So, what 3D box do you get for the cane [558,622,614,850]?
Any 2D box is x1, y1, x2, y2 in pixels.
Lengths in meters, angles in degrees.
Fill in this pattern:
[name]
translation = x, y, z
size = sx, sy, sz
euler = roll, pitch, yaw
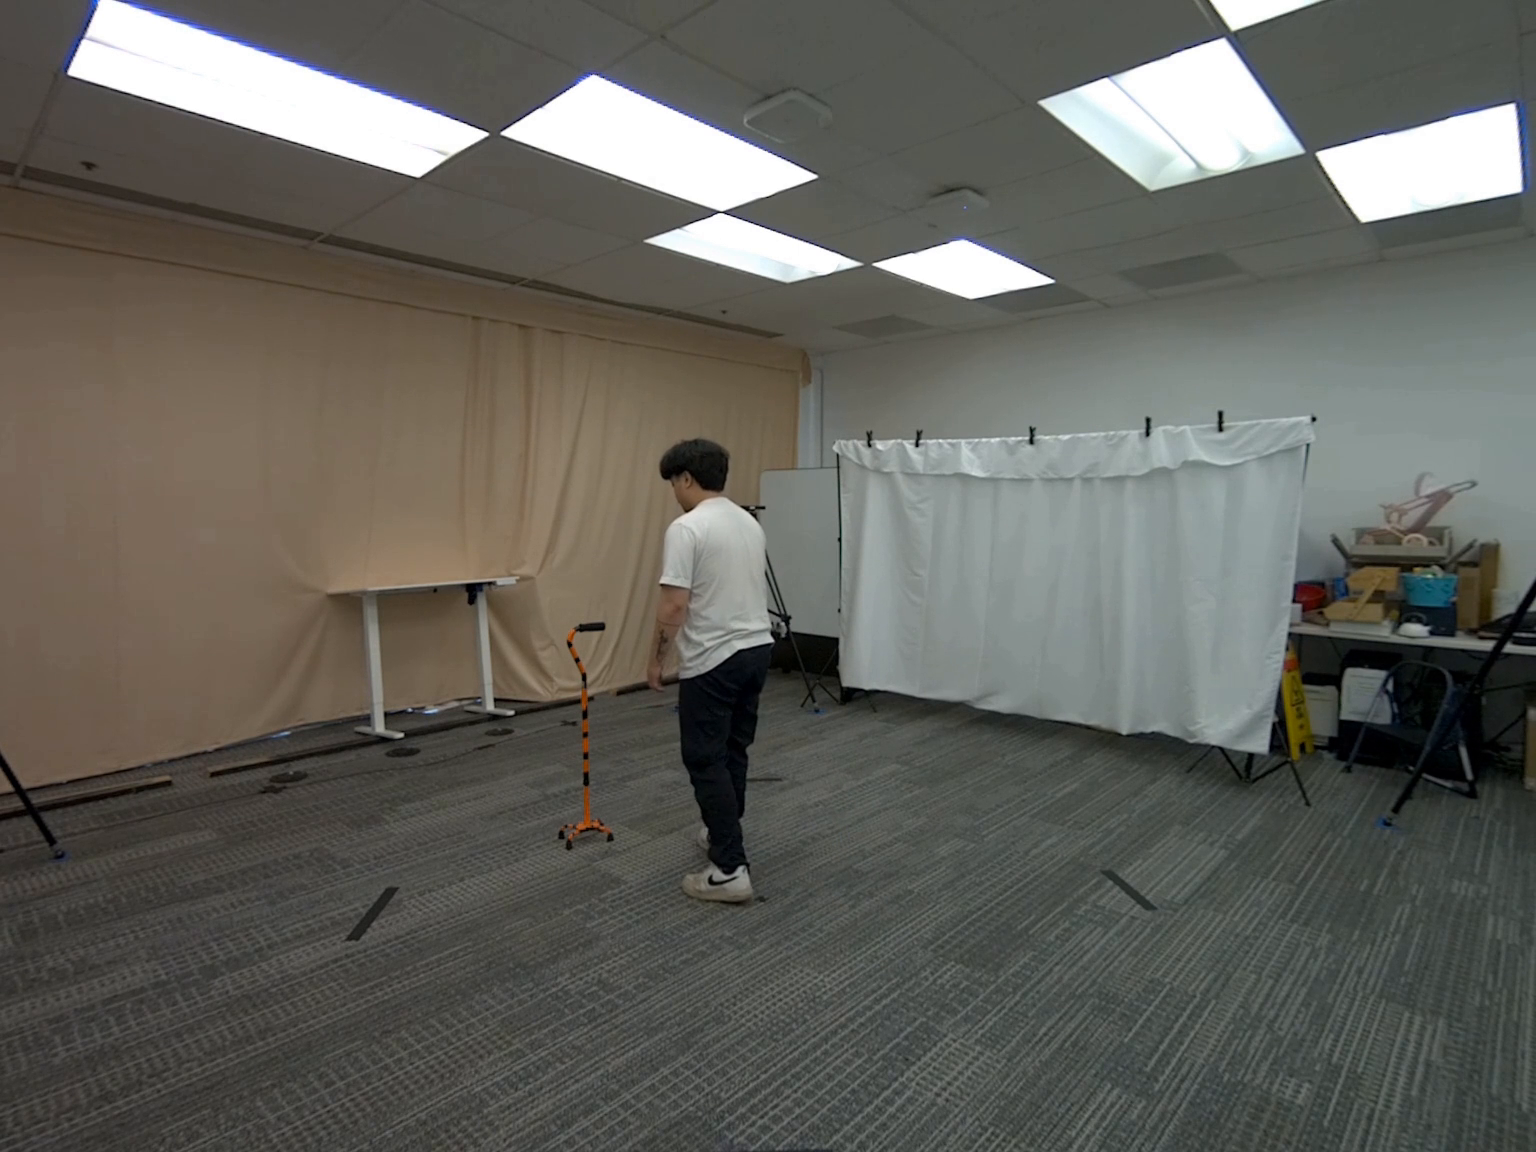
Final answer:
[cane]
translation = -0.774, 0.658, 3.519
size = 0.201, 0.906, 0.156
euler = -3, 3, -27
